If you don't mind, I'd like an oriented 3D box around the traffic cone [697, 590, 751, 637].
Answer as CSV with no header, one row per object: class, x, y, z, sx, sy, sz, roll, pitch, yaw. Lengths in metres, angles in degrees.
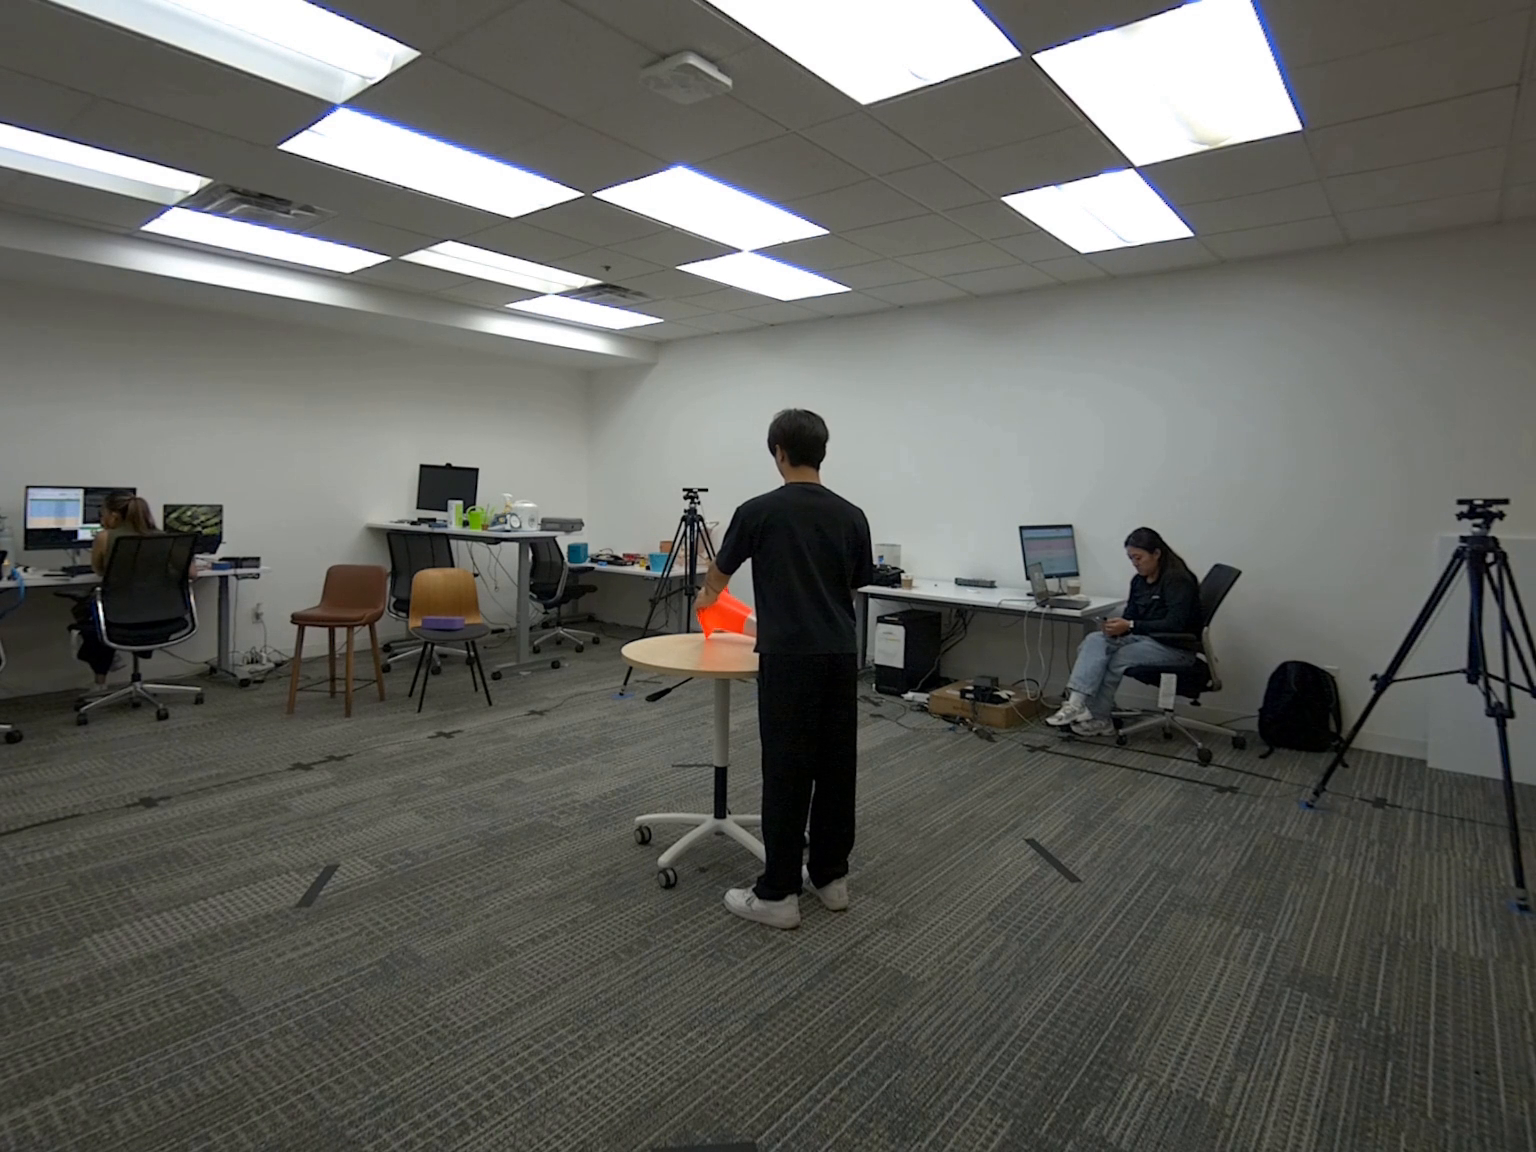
traffic cone,-0.065,0.198,3.359,0.396,0.204,0.198,23,-25,24
